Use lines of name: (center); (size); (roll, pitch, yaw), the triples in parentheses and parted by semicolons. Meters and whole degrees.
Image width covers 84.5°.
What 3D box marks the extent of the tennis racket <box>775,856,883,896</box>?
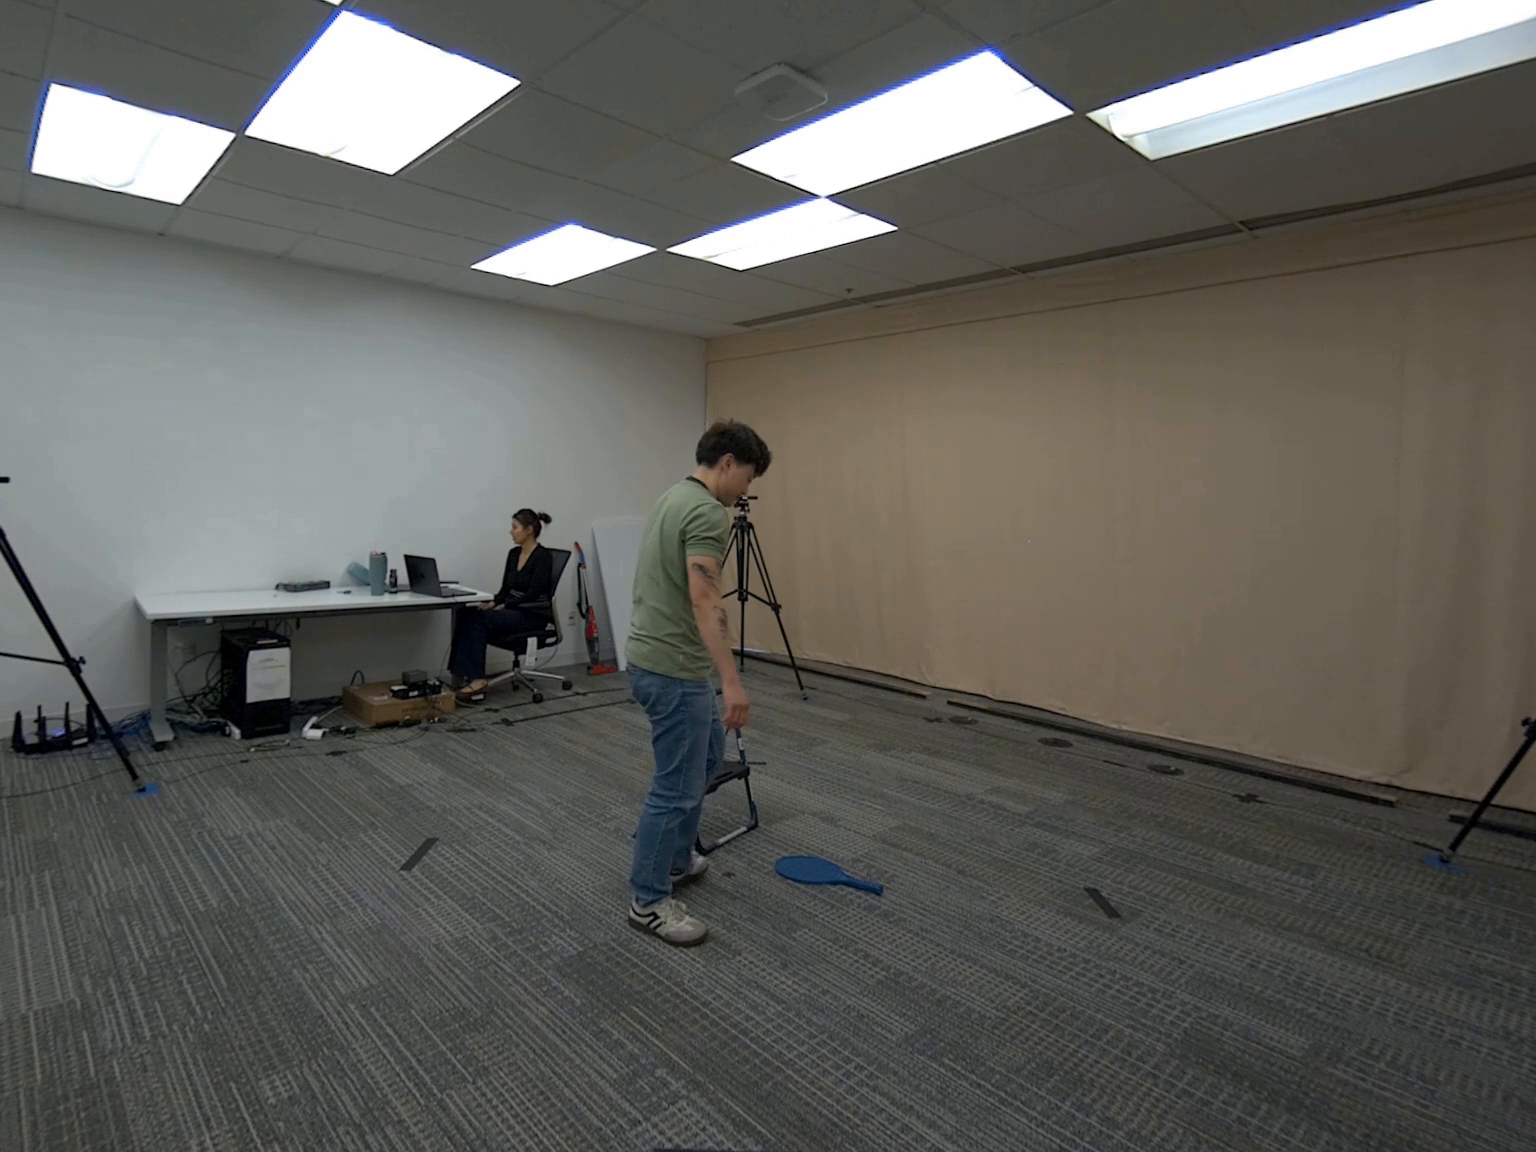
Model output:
tennis racket: (0.213, 1.098, 3.097); (0.443, 0.031, 0.209); (3, 6, 34)
